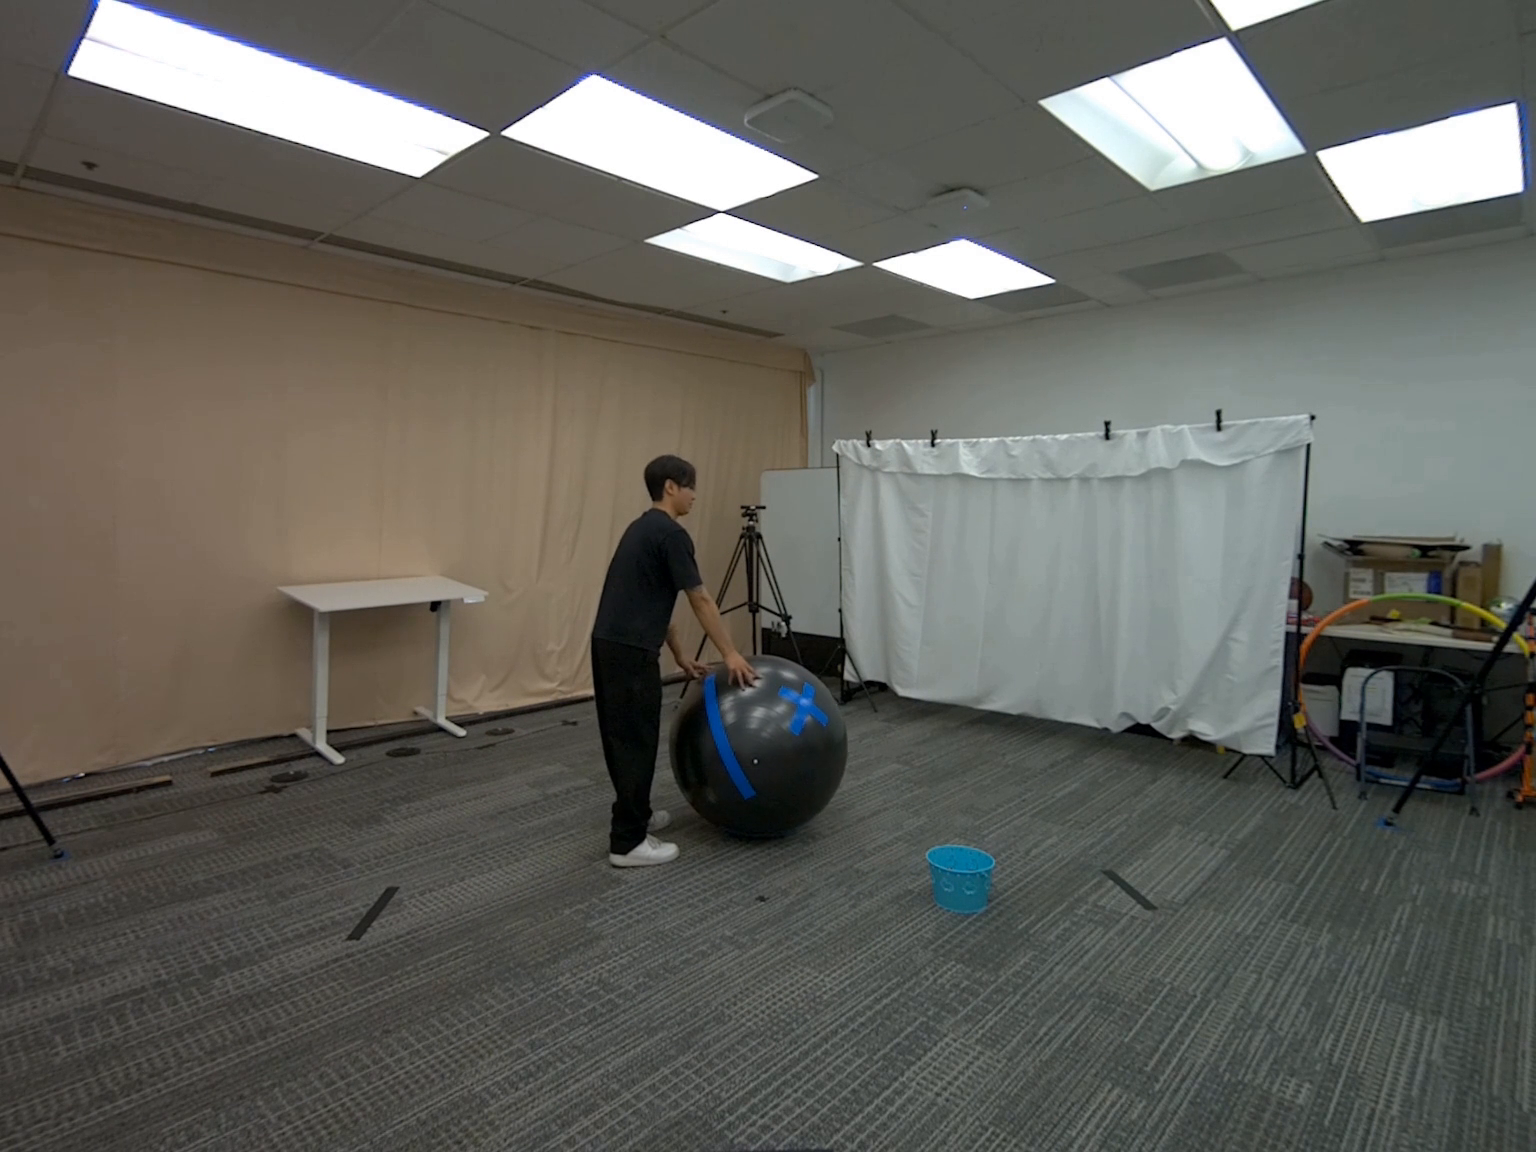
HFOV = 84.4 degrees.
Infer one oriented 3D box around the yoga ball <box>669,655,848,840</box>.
[{"bbox_3d":[-0.038,0.727,3.619,0.757,0.756,0.760,0,4,-2],"label":"yoga ball"}]
